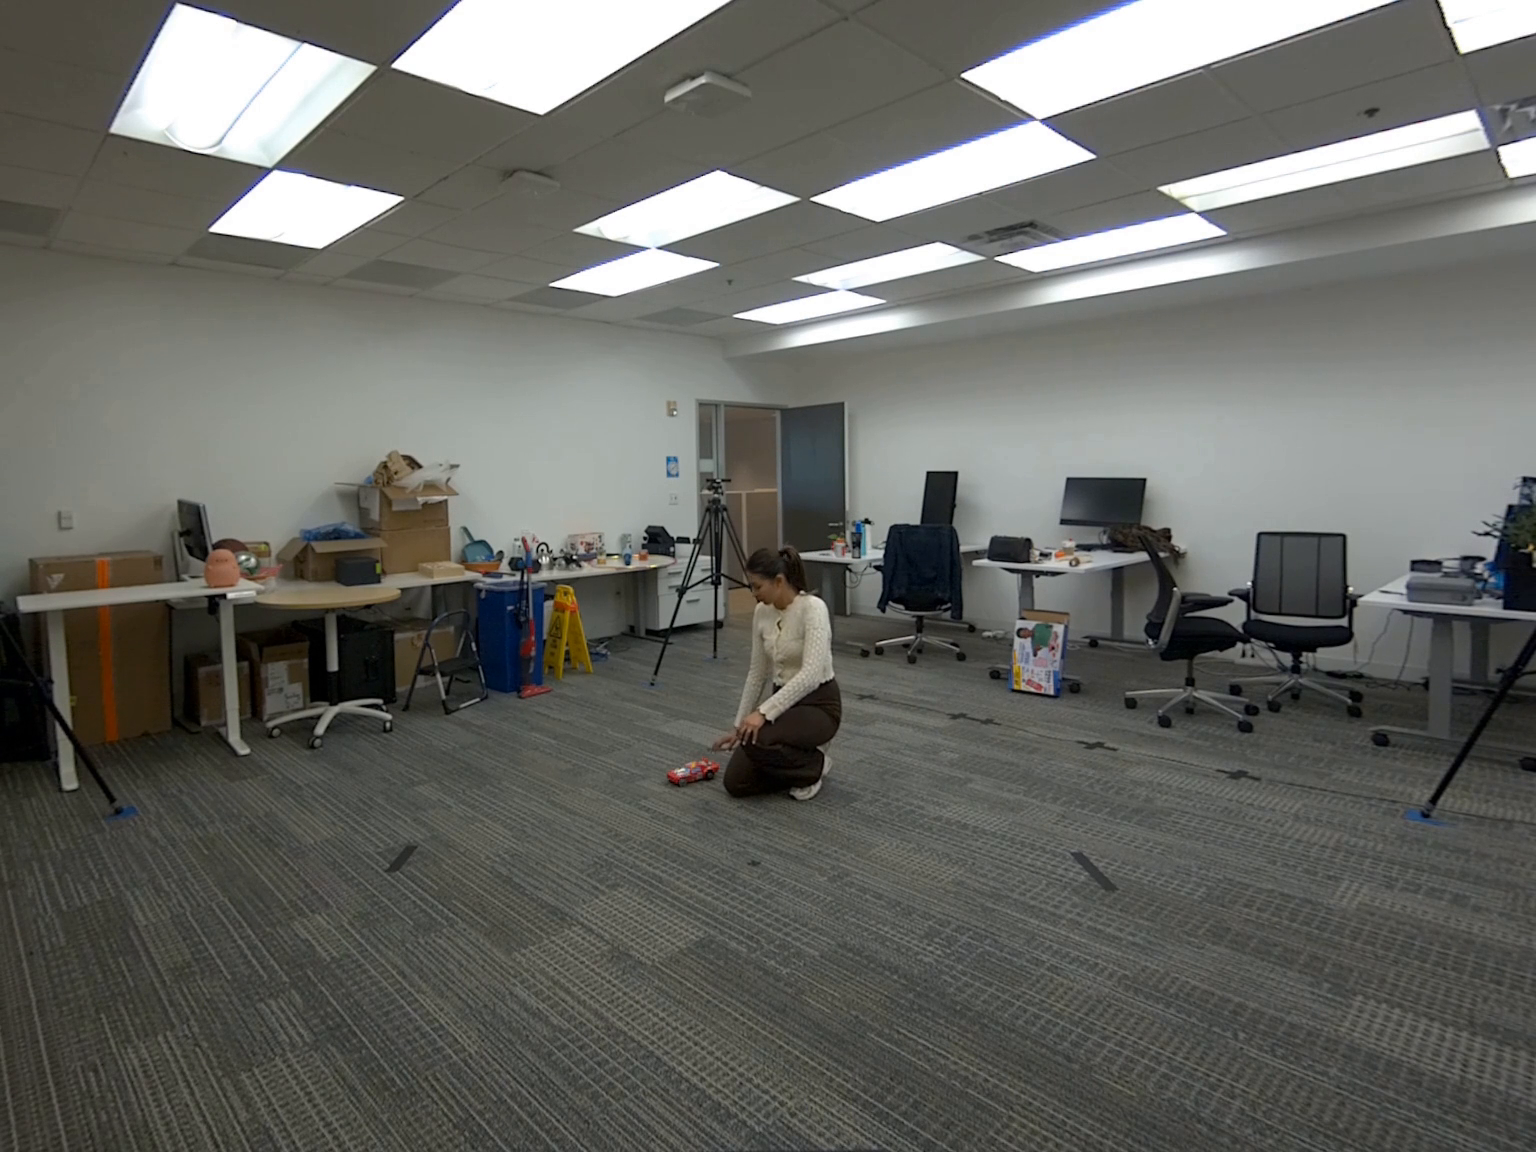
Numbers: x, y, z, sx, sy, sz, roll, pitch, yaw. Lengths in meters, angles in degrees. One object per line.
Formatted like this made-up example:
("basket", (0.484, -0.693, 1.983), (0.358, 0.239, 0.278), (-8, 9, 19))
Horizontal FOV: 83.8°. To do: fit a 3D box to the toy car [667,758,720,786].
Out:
("toy car", (-0.346, 0.918, 3.999), (0.250, 0.082, 0.134), (-18, 13, -31))
